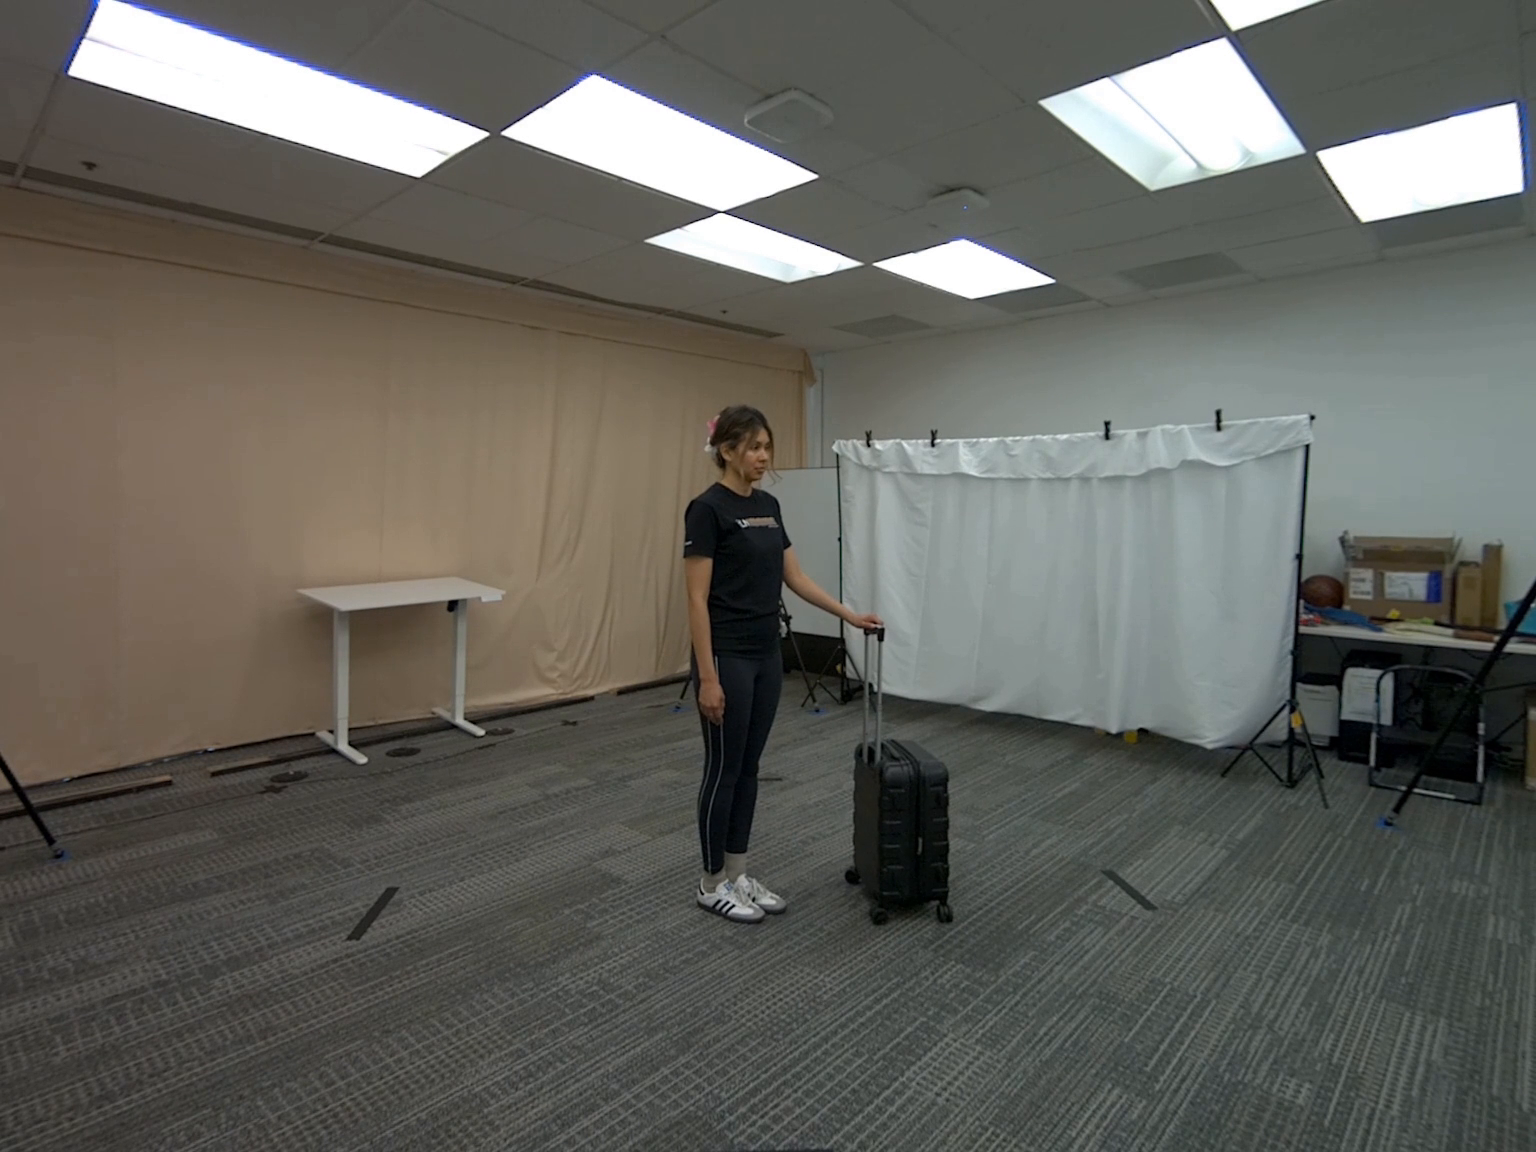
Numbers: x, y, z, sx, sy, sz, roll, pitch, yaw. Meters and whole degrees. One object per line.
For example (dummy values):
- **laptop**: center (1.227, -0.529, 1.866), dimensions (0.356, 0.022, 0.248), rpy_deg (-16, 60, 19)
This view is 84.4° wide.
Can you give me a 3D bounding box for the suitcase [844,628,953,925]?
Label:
- **suitcase**: center (0.473, 0.670, 2.946), dimensions (0.255, 0.977, 0.388), rpy_deg (3, 3, -8)
